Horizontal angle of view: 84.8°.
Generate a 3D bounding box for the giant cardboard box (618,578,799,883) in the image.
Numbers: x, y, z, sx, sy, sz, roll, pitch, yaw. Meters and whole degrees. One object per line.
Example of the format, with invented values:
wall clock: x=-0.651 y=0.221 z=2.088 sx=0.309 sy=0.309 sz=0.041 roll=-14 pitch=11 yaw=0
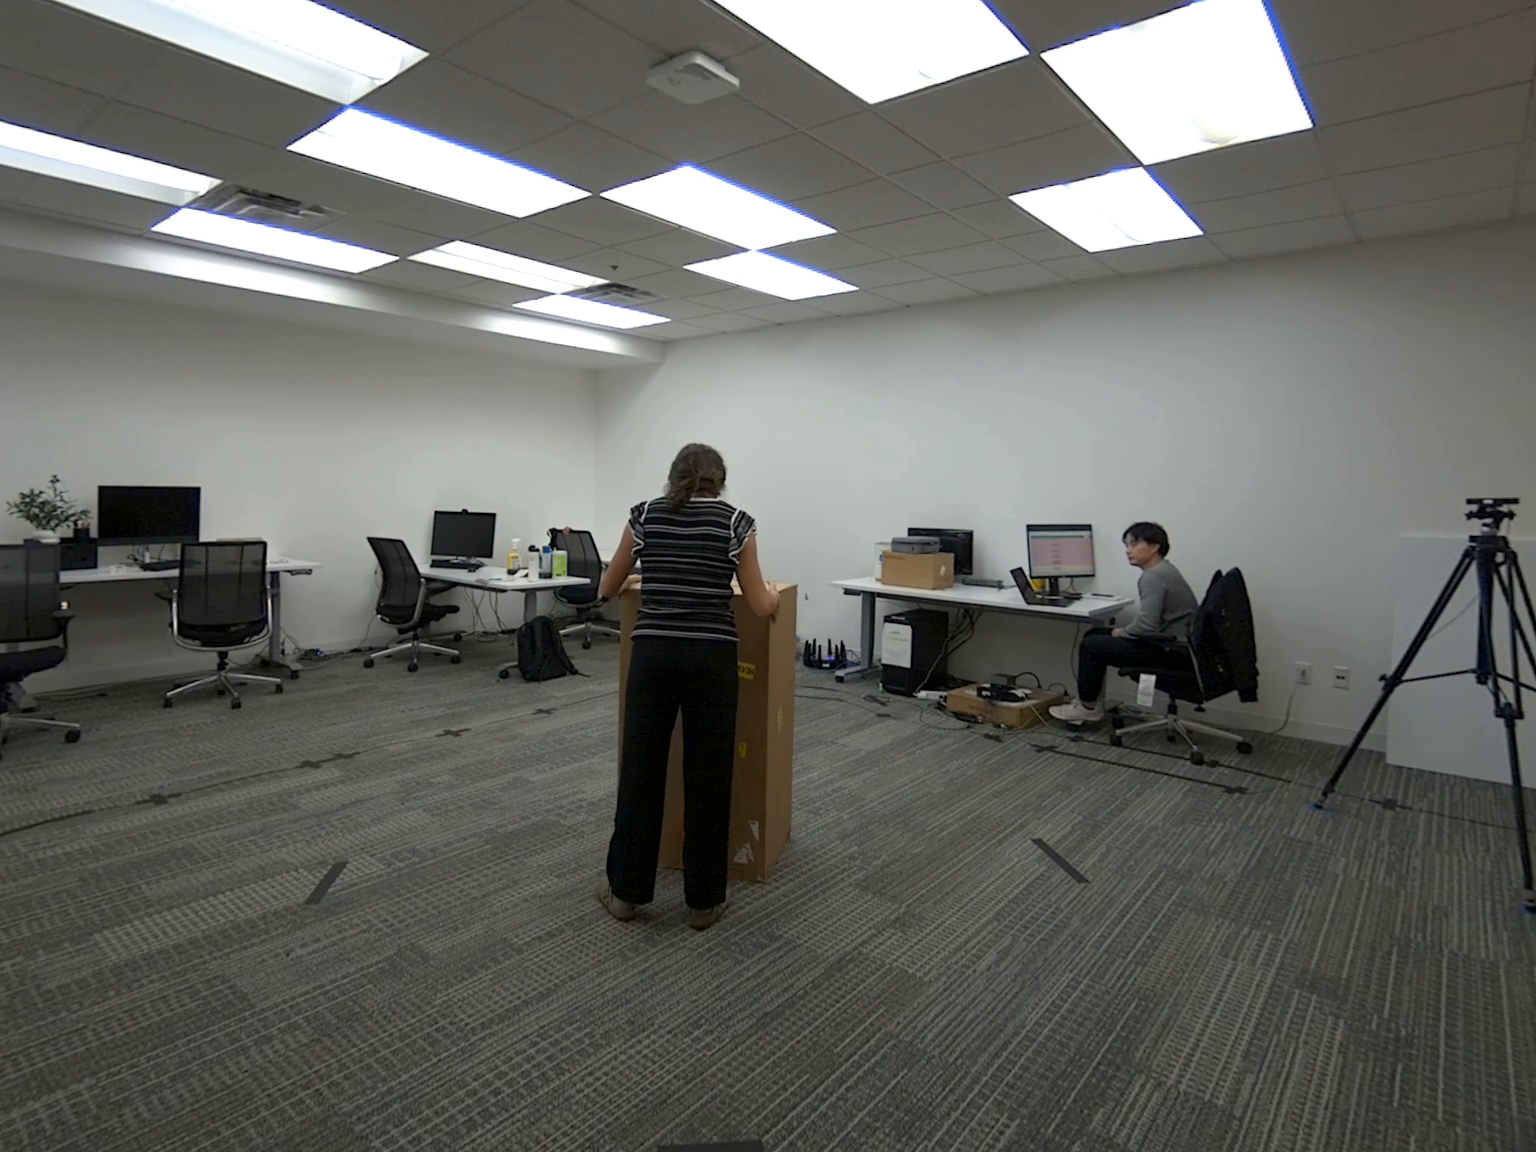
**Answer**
giant cardboard box: x=-0.236 y=0.543 z=3.259 sx=0.589 sy=1.023 sz=0.419 roll=2 pitch=3 yaw=17
